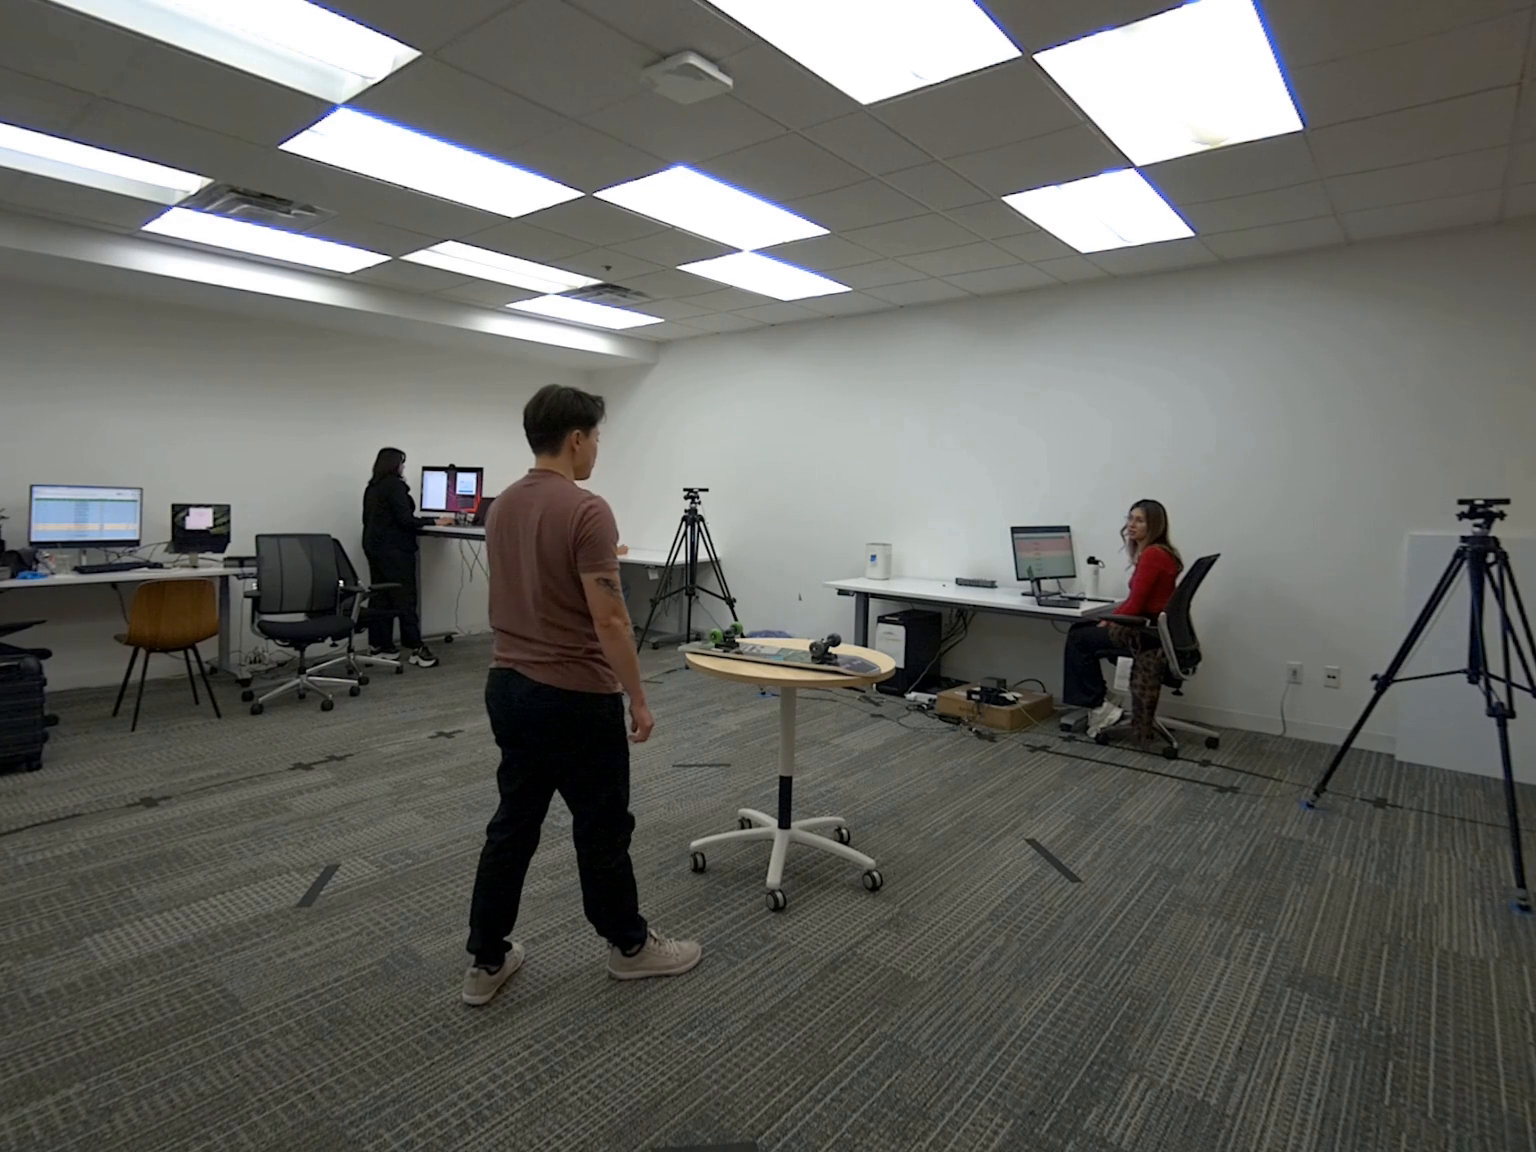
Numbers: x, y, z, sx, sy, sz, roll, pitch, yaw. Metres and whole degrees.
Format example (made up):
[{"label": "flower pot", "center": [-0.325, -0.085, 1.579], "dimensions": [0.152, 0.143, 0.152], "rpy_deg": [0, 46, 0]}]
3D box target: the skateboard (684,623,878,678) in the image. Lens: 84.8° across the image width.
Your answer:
[{"label": "skateboard", "center": [0.016, 0.251, 3.053], "dimensions": [0.809, 0.109, 0.189], "rpy_deg": [5, 10, 30]}]
